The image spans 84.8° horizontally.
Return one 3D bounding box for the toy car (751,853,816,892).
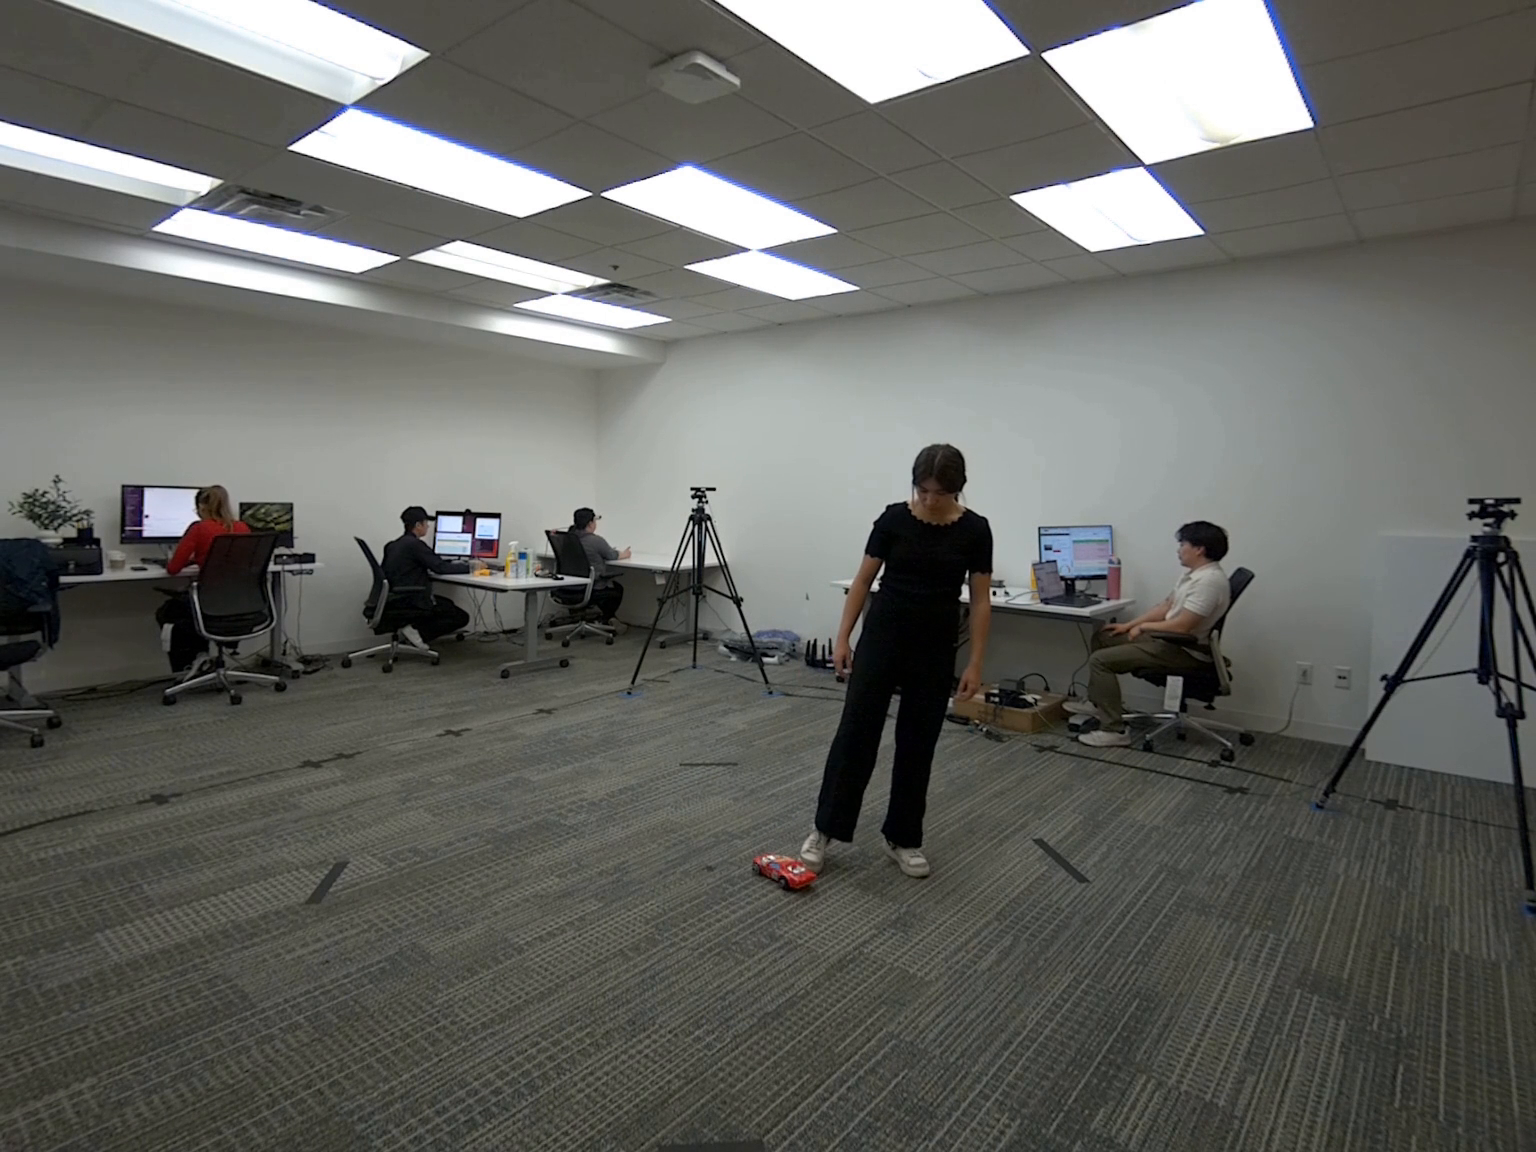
[{"bbox_3d":[0.053,1.046,3.024,0.126,0.083,0.261,-2,-4,-39],"label":"toy car"}]
